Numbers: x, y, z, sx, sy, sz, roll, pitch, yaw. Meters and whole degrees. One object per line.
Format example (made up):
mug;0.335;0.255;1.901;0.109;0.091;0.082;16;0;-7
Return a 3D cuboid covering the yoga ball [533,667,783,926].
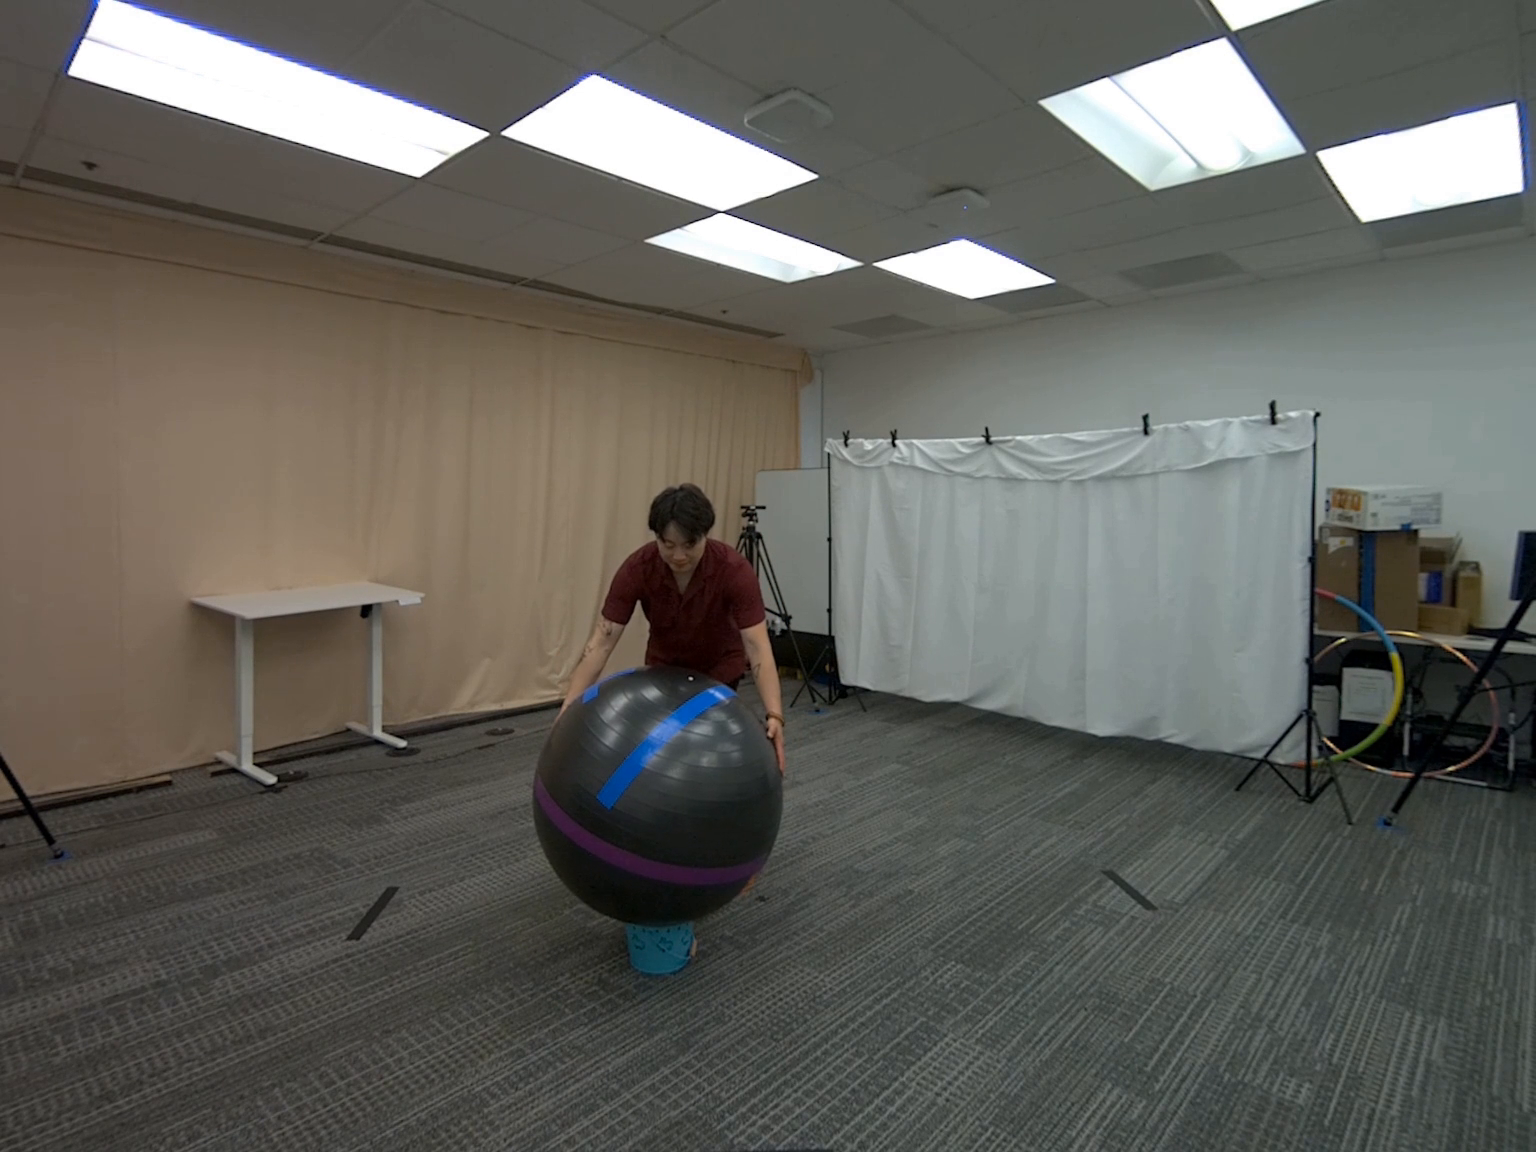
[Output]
yoga ball;-0.332;0.661;2.568;0.757;0.756;0.760;0;4;-2
